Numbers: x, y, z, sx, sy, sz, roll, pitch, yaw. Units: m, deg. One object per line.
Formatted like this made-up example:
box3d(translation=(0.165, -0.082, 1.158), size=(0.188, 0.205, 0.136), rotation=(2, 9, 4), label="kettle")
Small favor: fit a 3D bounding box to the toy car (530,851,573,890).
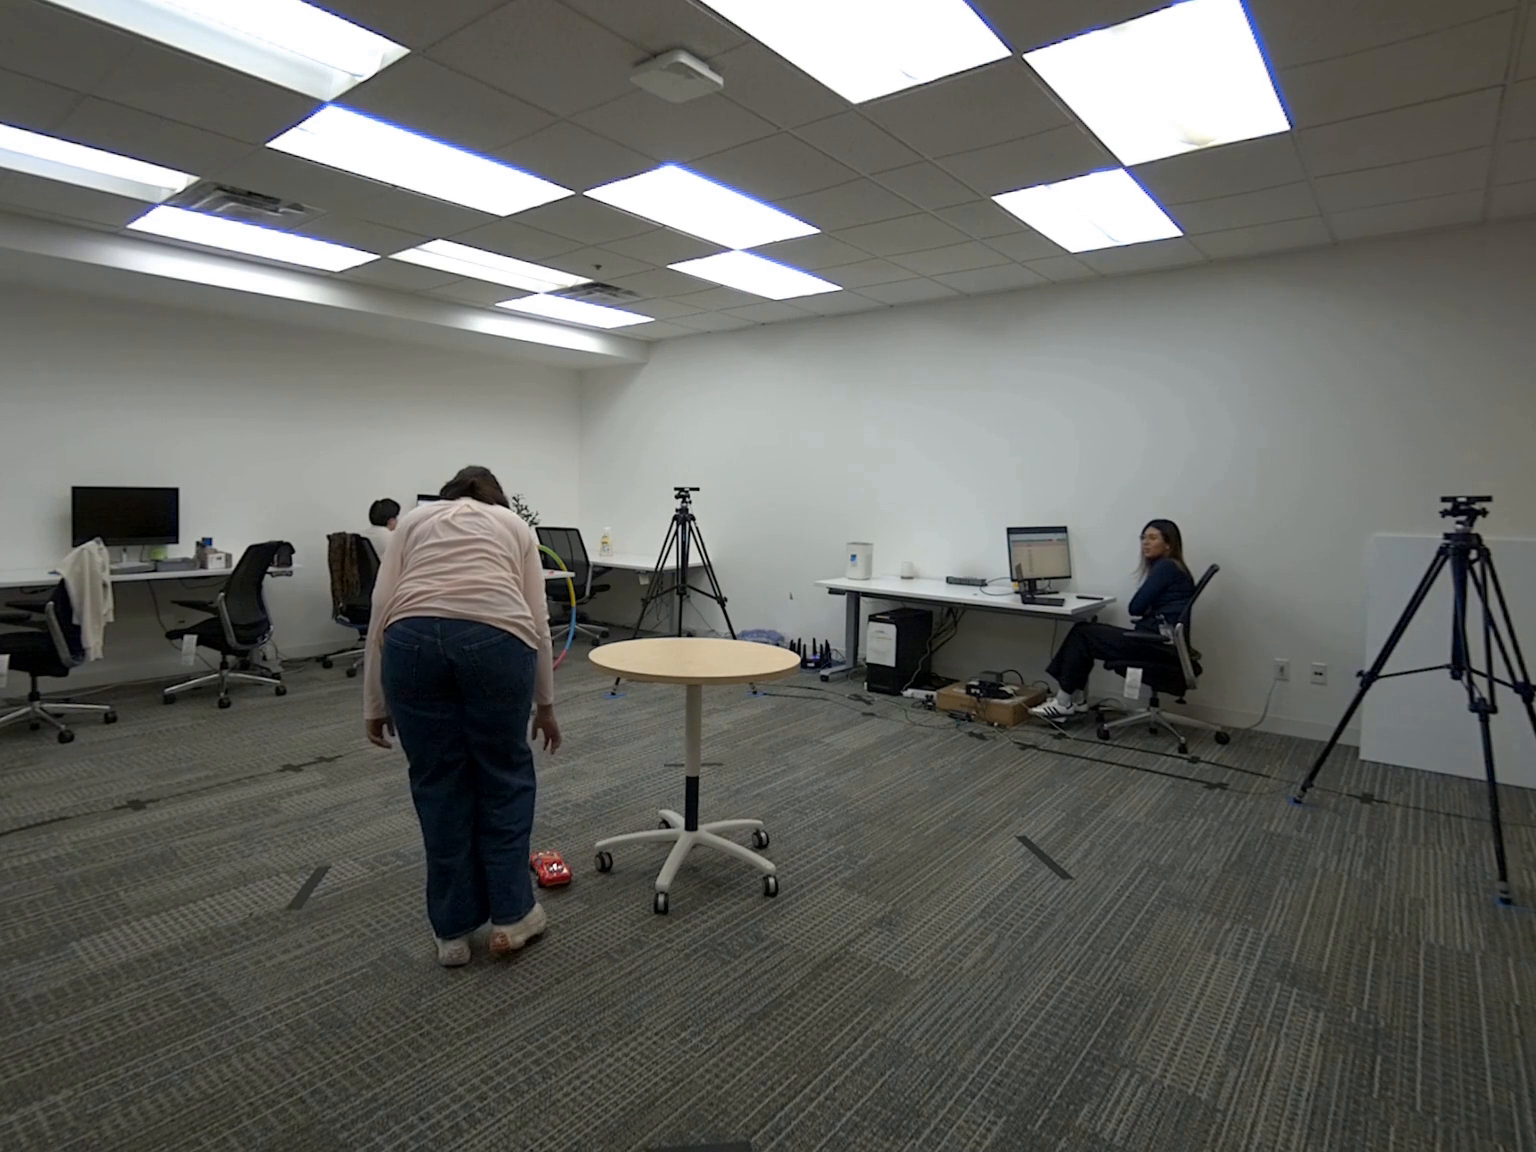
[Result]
box3d(translation=(-0.785, 1.036, 3.010), size=(0.127, 0.084, 0.259), rotation=(-2, -5, -26), label="toy car")
